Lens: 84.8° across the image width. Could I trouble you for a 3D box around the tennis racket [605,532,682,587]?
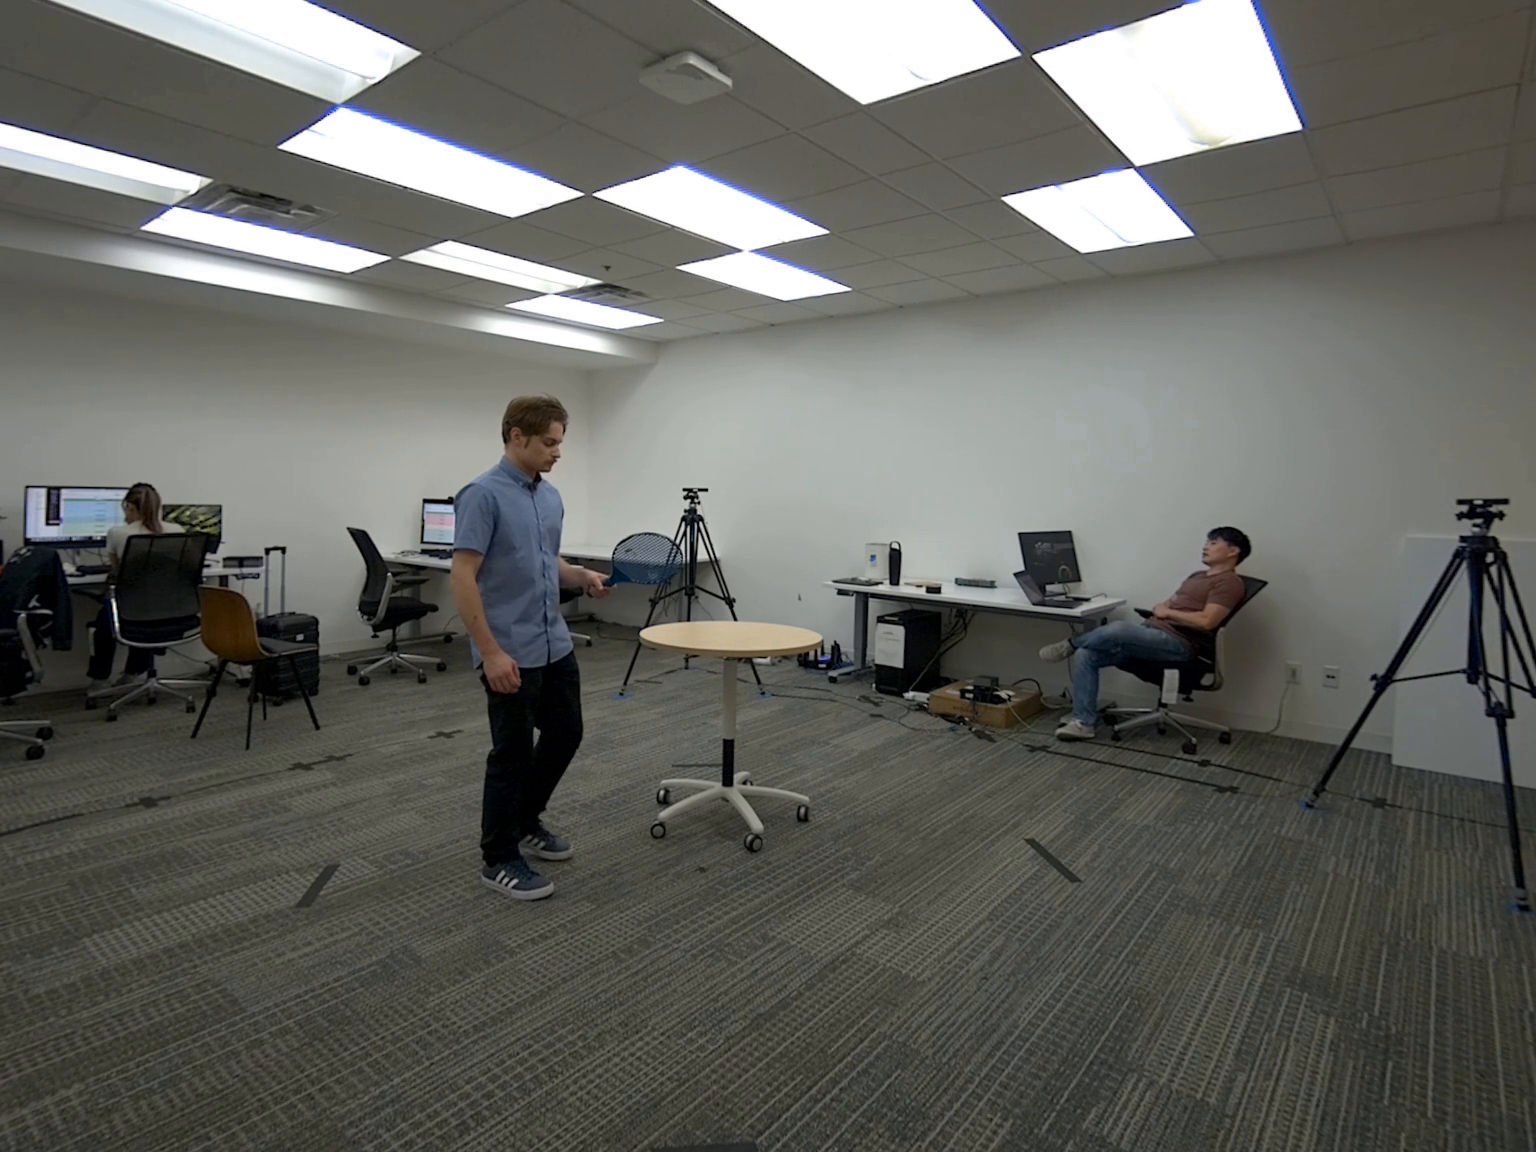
[{"bbox_3d":[-0.474,-0.019,2.831,0.438,0.208,0.032,-30,25,33],"label":"tennis racket"}]
